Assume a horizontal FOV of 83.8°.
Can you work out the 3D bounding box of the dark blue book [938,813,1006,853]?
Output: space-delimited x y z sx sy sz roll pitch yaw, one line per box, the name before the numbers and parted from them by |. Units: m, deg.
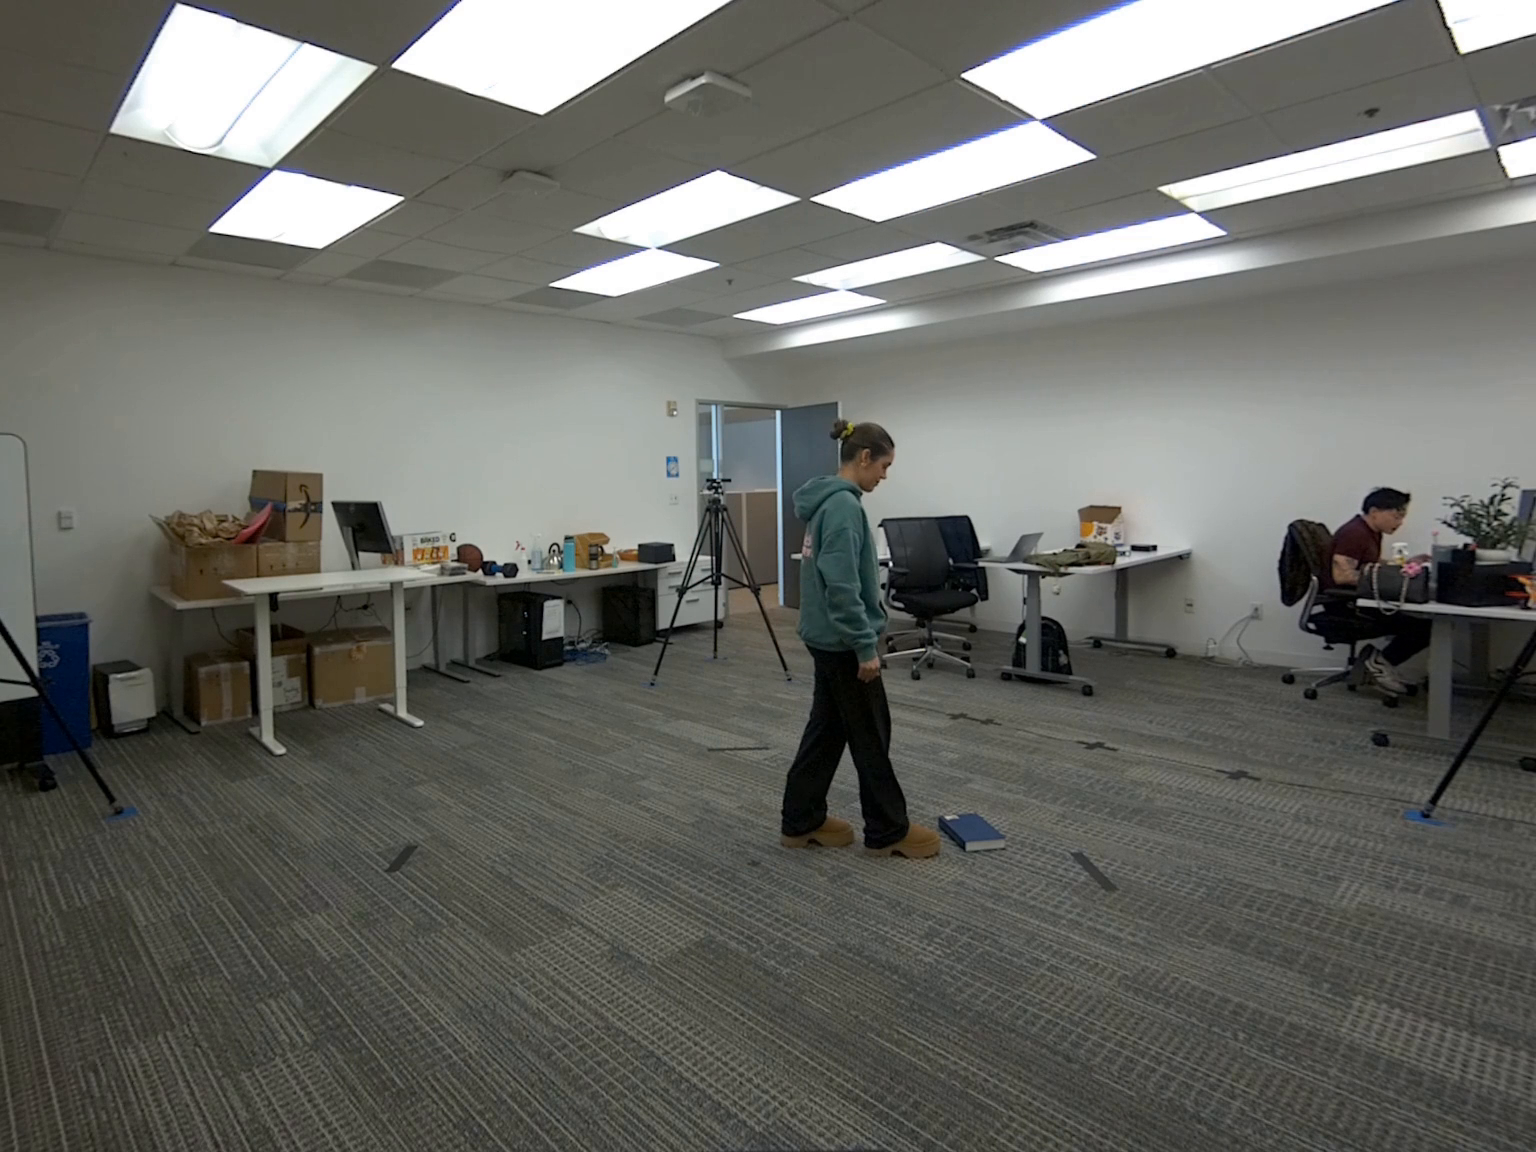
dark blue book | 0.778 0.978 3.293 0.162 0.045 0.248 -2 6 -11
